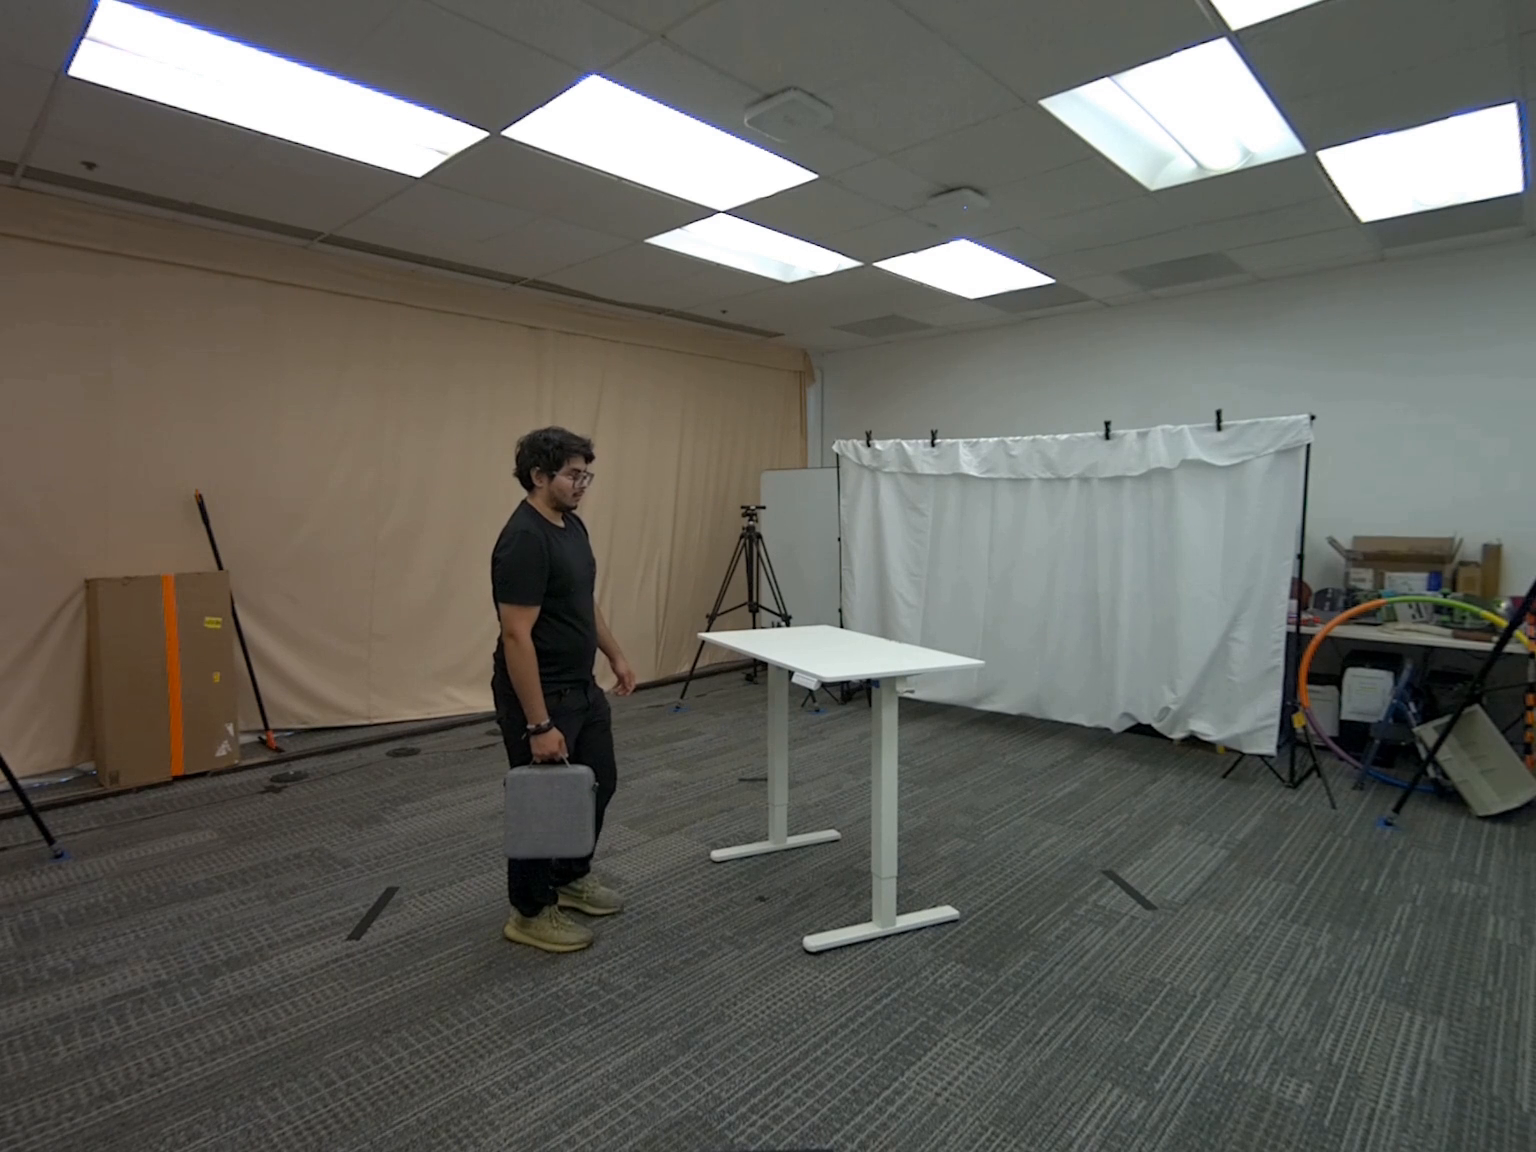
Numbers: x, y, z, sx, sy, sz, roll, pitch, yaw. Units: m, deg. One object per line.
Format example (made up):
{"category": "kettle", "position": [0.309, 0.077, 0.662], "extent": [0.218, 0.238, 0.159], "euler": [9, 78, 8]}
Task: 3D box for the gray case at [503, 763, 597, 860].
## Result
{"category": "gray case", "position": [-0.625, 0.671, 2.444], "extent": [0.257, 0.262, 0.104], "euler": [1, -7, 1]}
